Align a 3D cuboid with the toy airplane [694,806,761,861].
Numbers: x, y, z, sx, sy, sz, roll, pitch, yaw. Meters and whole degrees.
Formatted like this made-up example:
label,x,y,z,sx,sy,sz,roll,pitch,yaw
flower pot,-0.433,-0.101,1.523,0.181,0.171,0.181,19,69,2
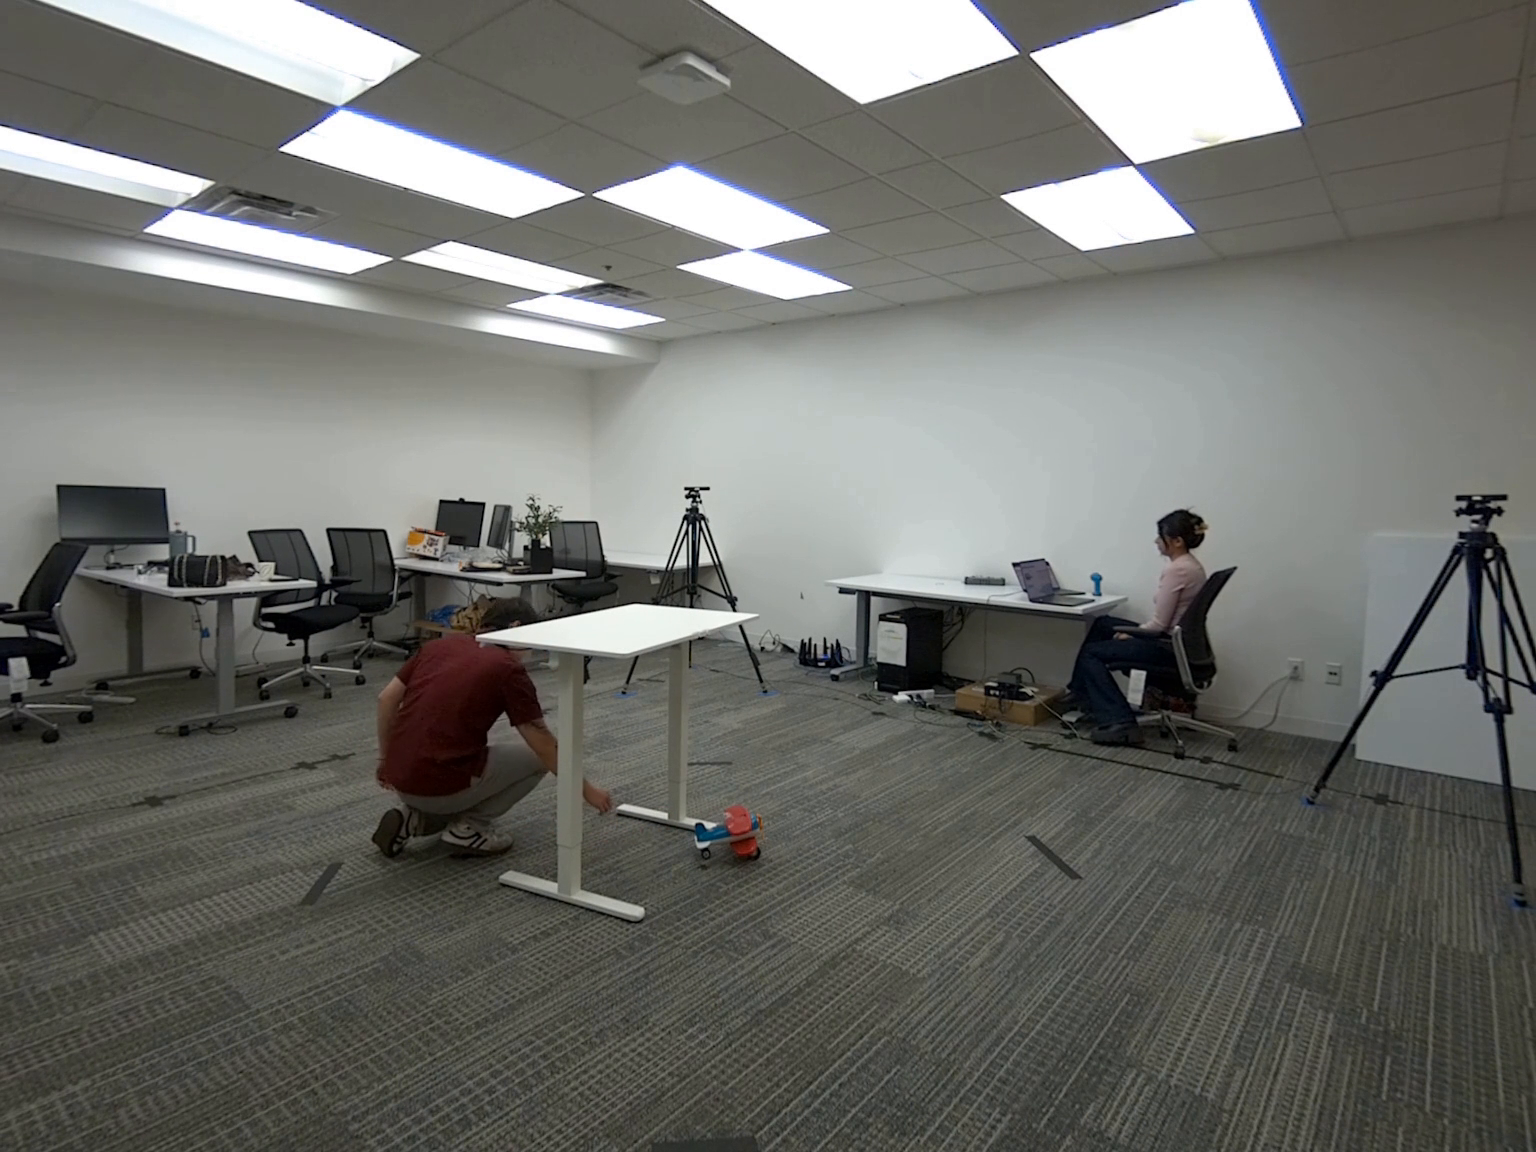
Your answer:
label,x,y,z,sx,sy,sz,roll,pitch,yaw
toy airplane,-0.155,0.984,3.204,0.252,0.156,0.259,-2,5,-35
